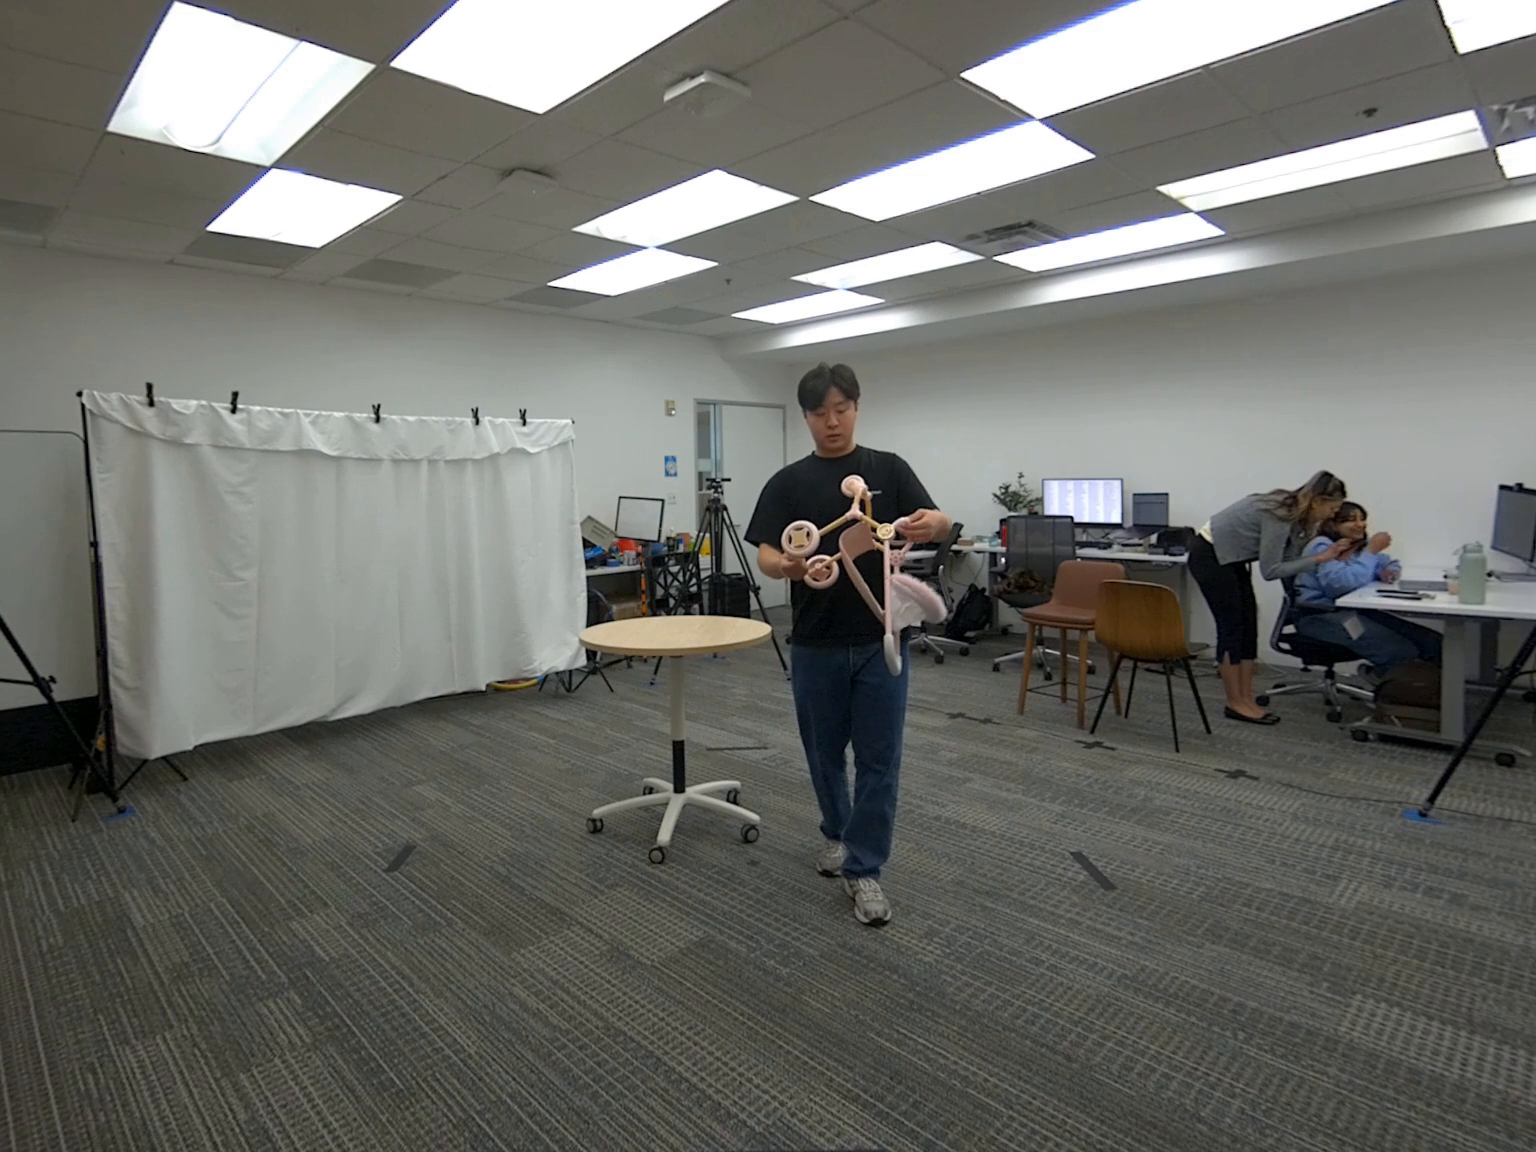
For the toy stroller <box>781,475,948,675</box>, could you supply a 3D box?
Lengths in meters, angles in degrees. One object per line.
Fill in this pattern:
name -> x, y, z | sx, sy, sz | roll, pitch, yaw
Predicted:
toy stroller -> 0.309, -0.025, 2.420 | 0.554, 0.341, 0.272 | 45, -8, 30
